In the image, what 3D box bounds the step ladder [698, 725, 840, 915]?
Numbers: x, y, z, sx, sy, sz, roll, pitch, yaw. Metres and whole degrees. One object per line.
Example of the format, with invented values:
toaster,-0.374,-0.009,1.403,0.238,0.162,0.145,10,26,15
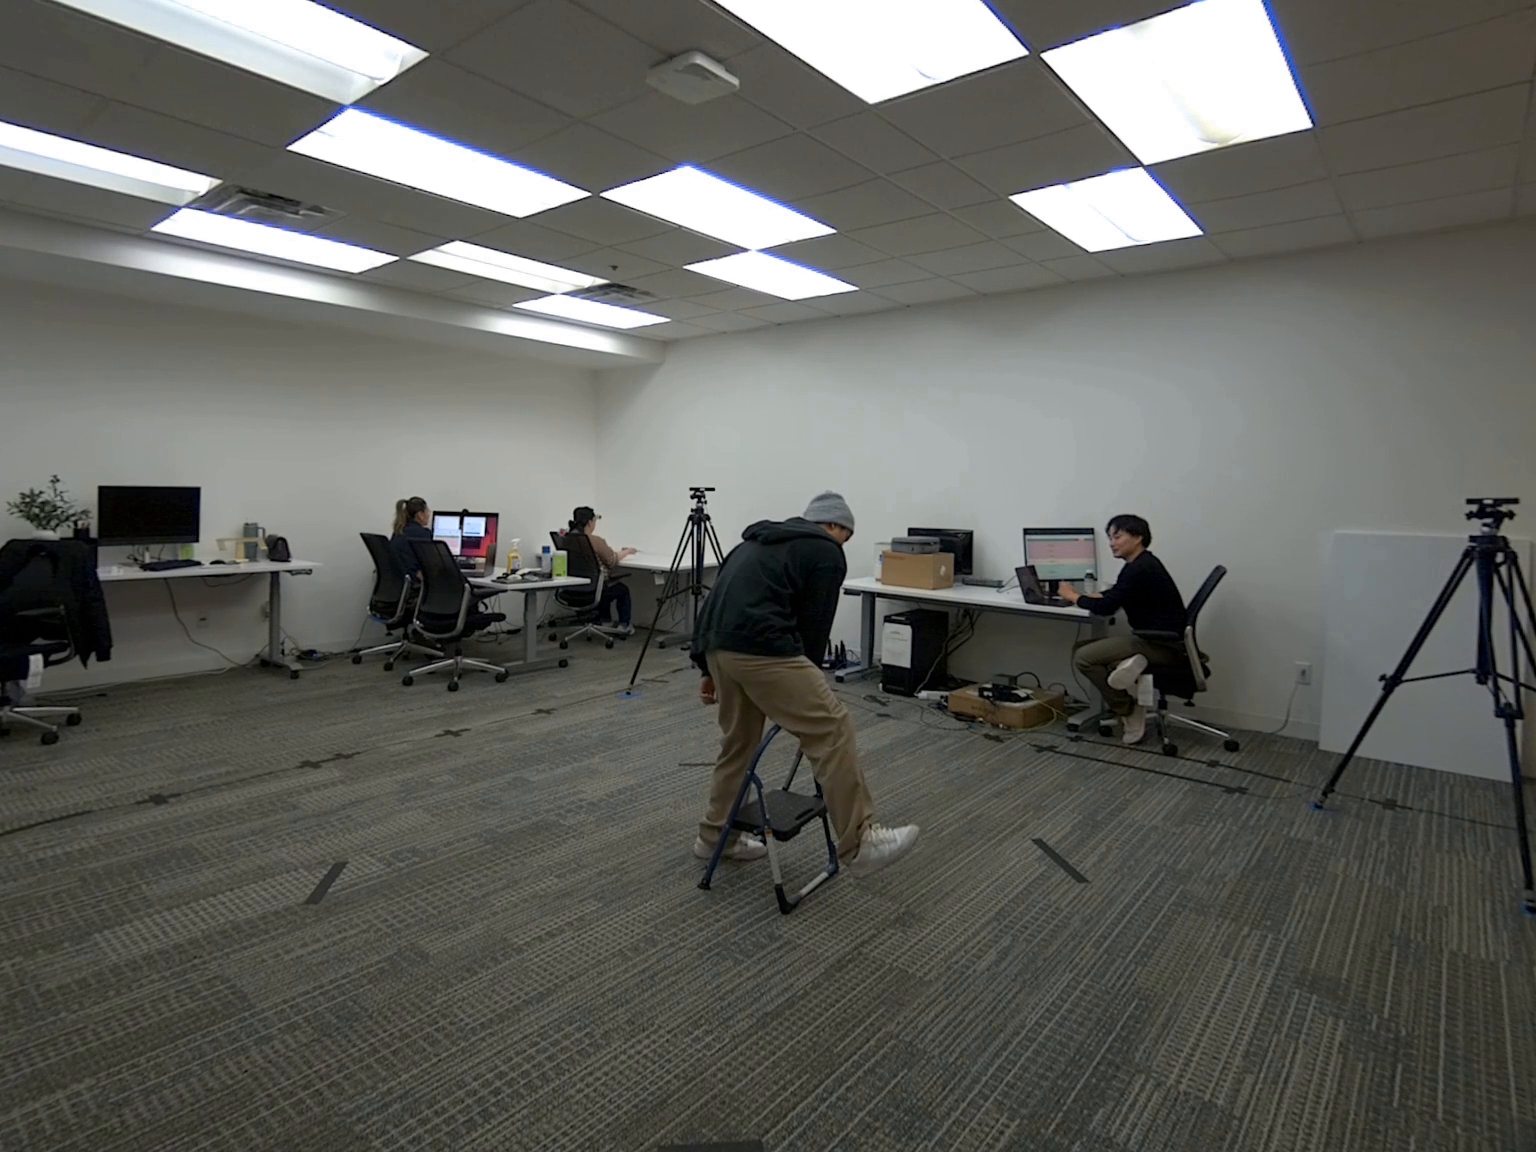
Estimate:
step ladder,0.012,0.780,3.022,0.360,0.604,0.419,3,4,30
